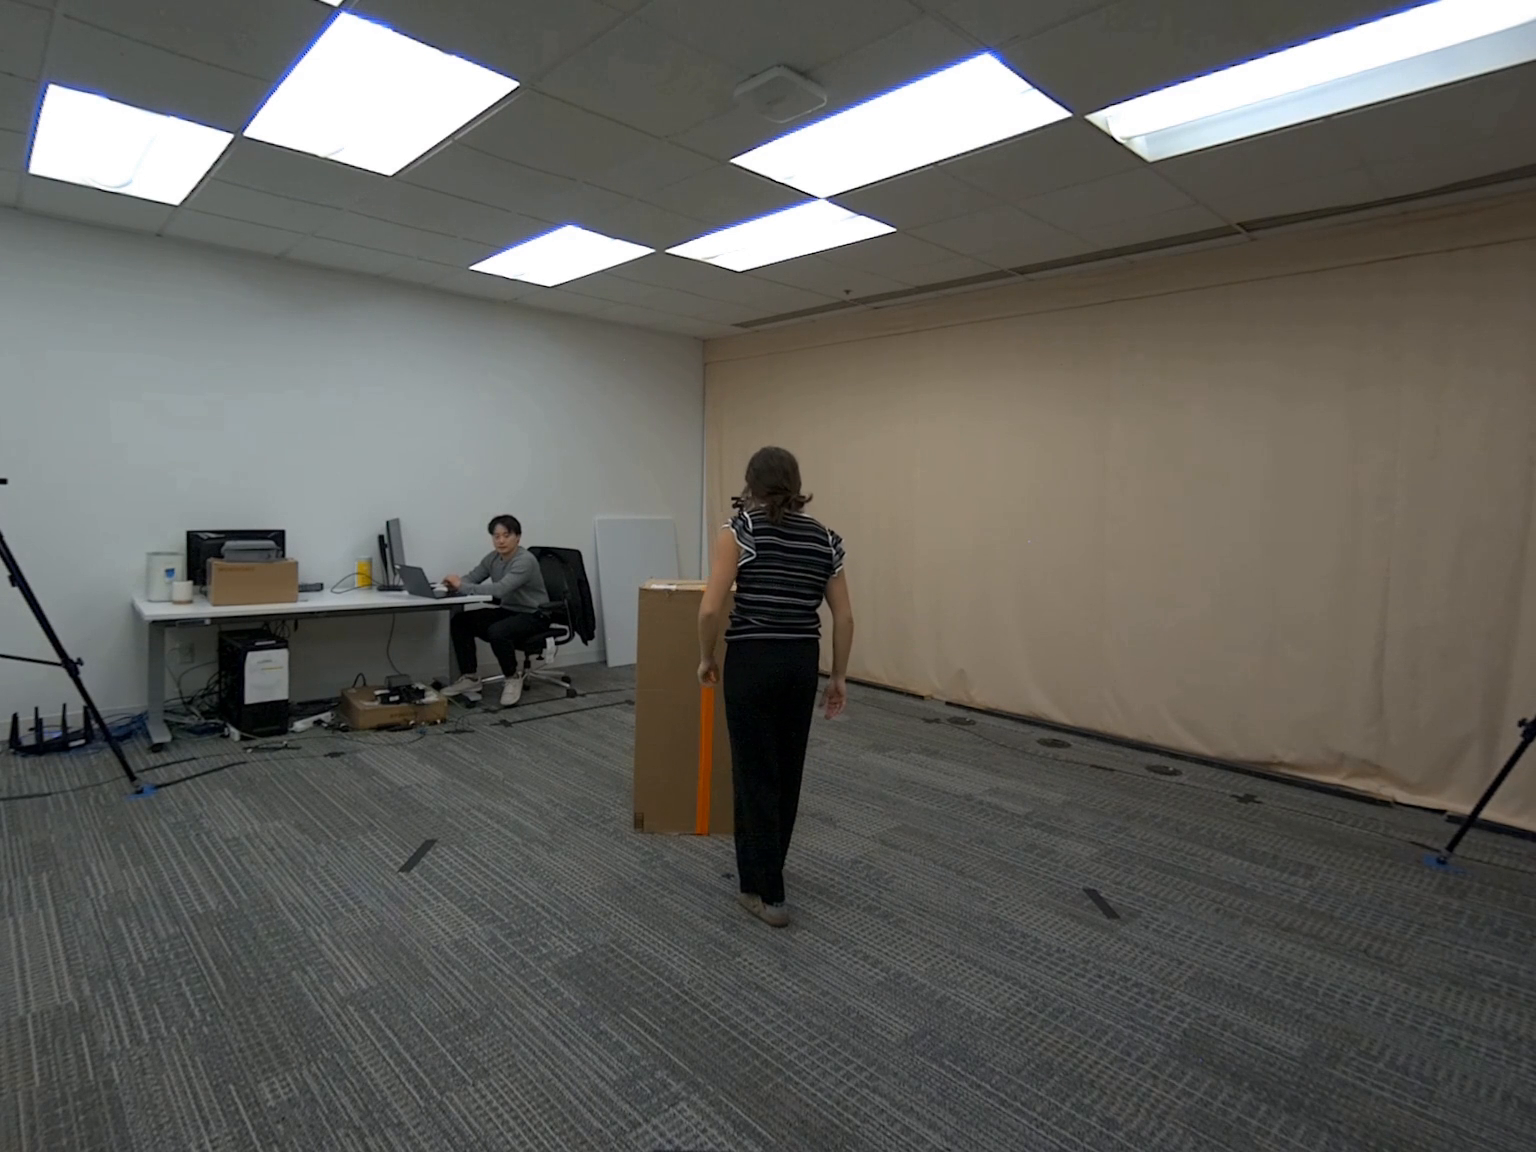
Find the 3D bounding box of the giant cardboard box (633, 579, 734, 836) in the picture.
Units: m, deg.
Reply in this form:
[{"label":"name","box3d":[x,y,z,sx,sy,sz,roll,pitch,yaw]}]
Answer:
[{"label":"giant cardboard box","box3d":[-0.277,0.546,3.665,0.577,1.024,0.427,2,3,-1]}]
